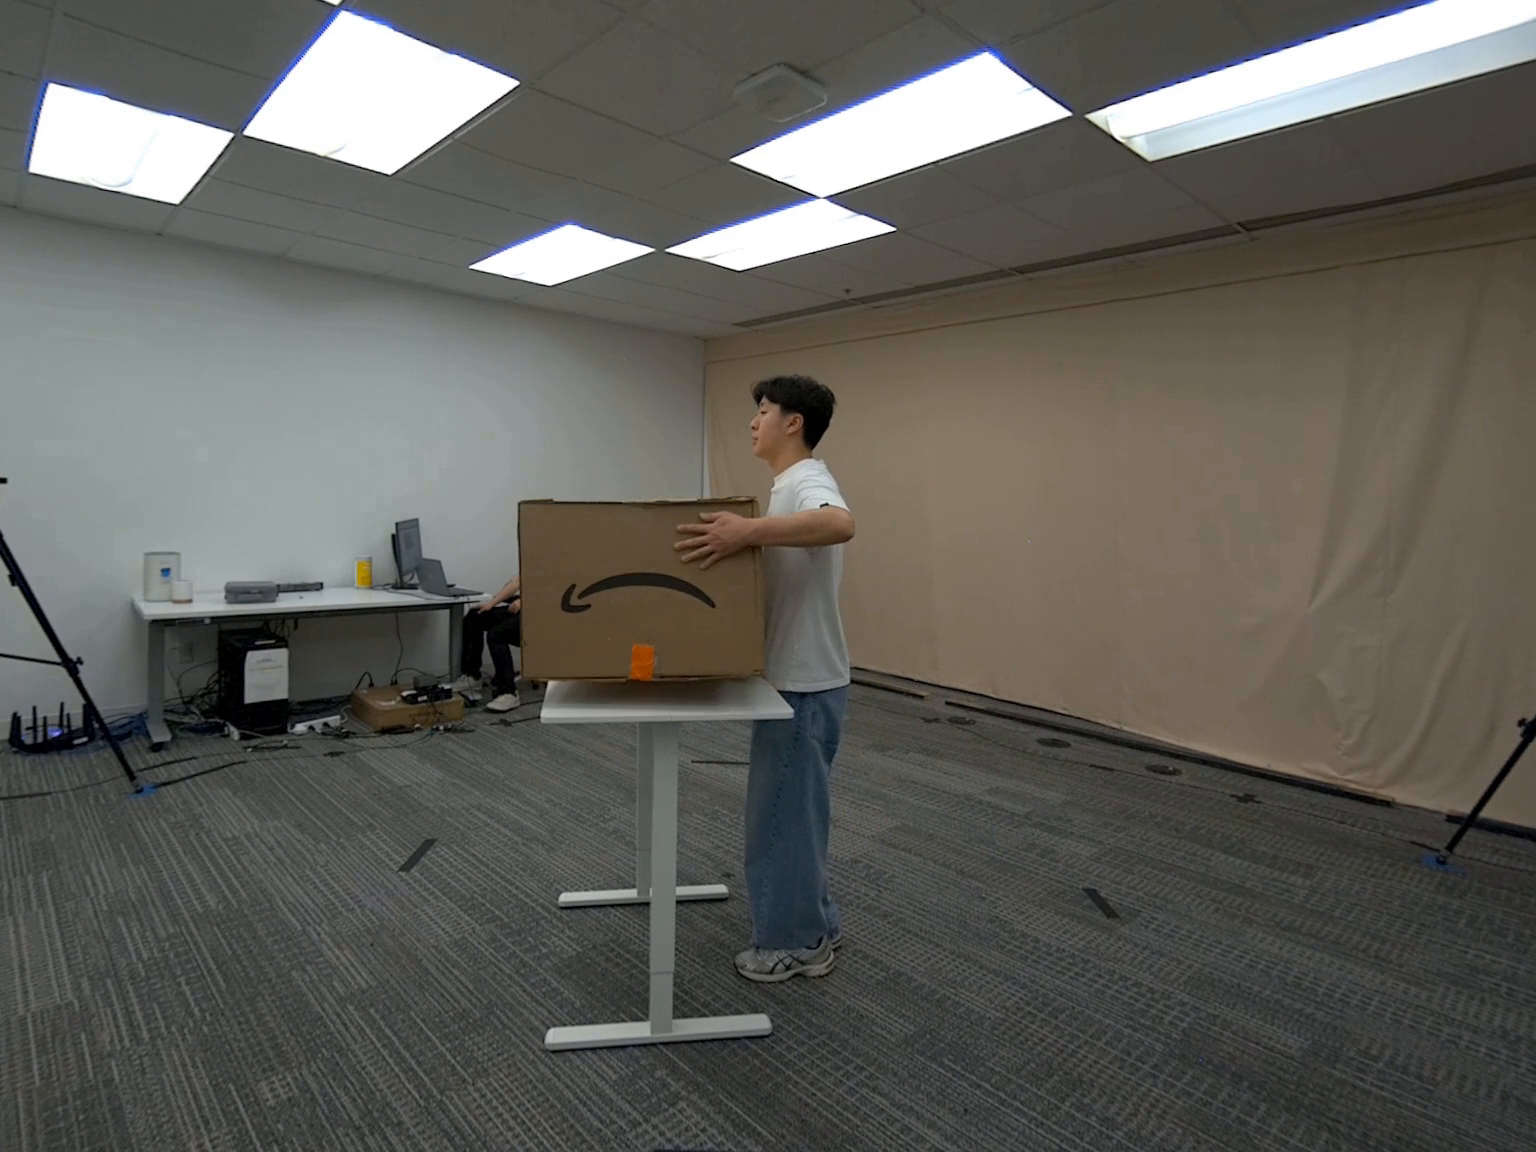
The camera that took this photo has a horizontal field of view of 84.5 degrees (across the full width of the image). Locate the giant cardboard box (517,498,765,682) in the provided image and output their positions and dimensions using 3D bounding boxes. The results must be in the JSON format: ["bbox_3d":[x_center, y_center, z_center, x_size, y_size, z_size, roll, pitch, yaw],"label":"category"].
[{"bbox_3d":[-0.322,0.000,2.502,0.577,0.425,1.030,0,5,-2],"label":"giant cardboard box"}]
